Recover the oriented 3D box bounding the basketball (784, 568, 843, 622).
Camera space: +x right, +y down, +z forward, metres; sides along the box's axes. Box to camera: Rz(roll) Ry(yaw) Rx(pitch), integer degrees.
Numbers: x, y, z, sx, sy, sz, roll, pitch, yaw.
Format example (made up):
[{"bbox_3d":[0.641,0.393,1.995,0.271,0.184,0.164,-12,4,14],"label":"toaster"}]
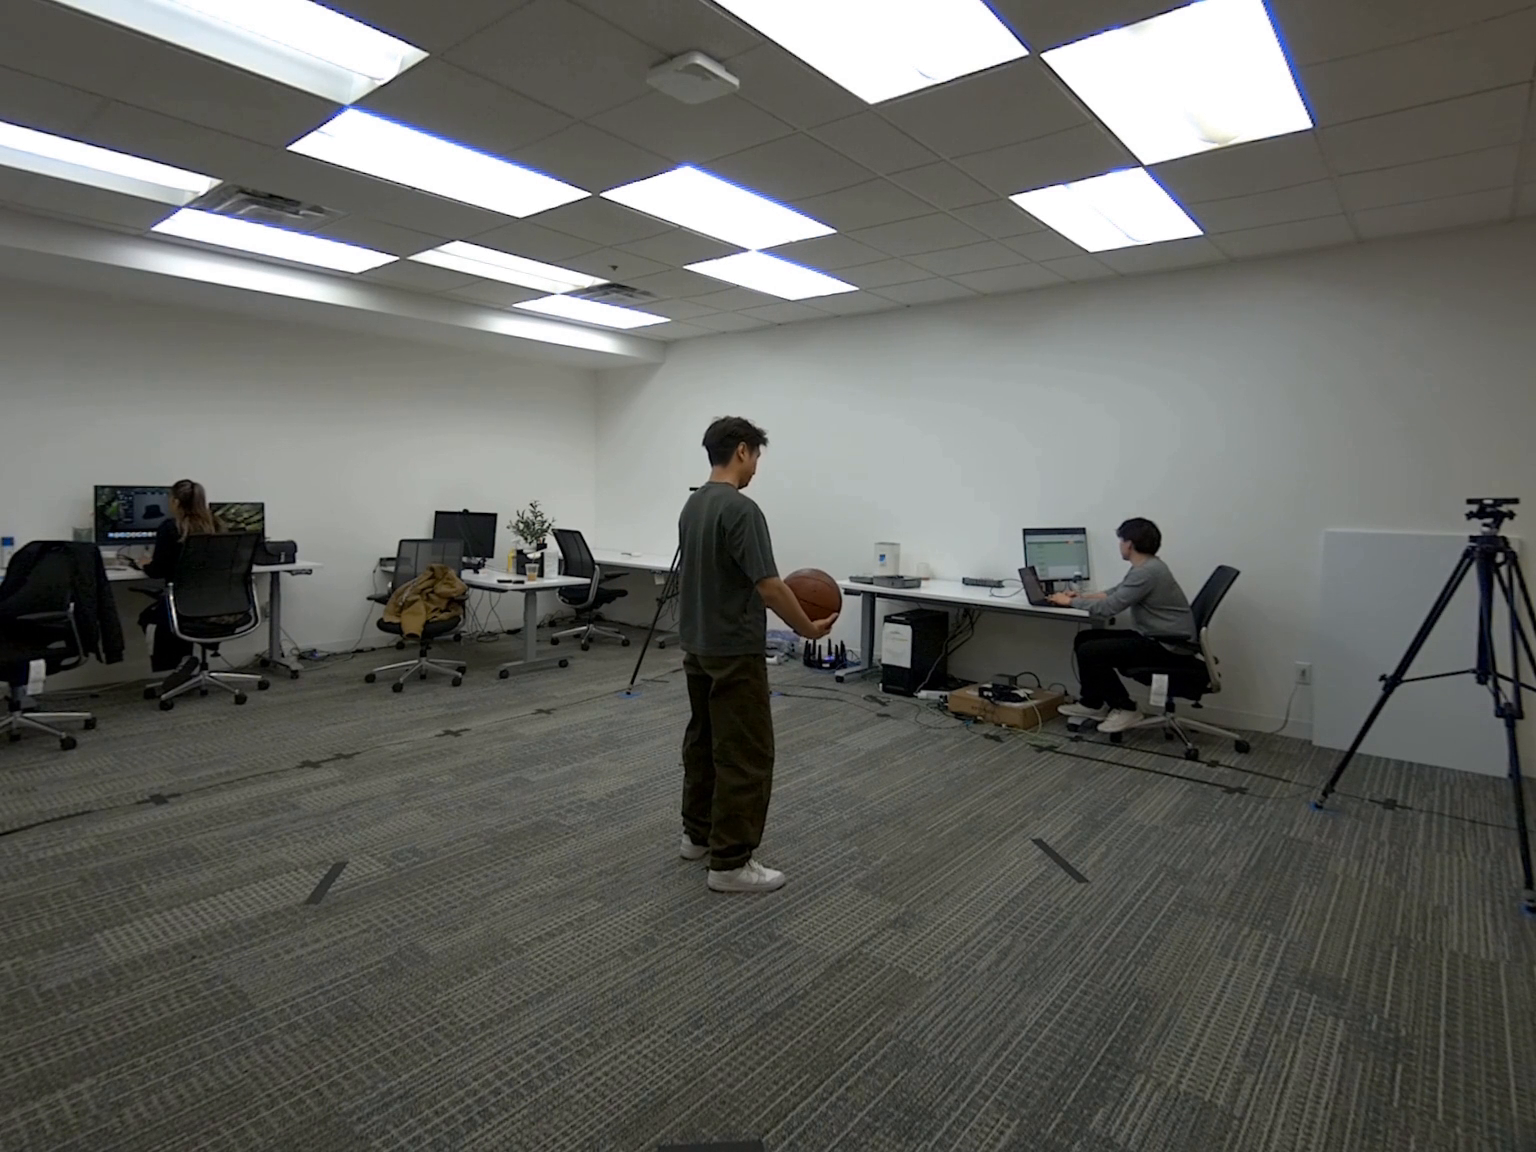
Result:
[{"bbox_3d":[0.138,0.088,3.101,0.235,0.235,0.237,1,4,-2],"label":"basketball"}]
